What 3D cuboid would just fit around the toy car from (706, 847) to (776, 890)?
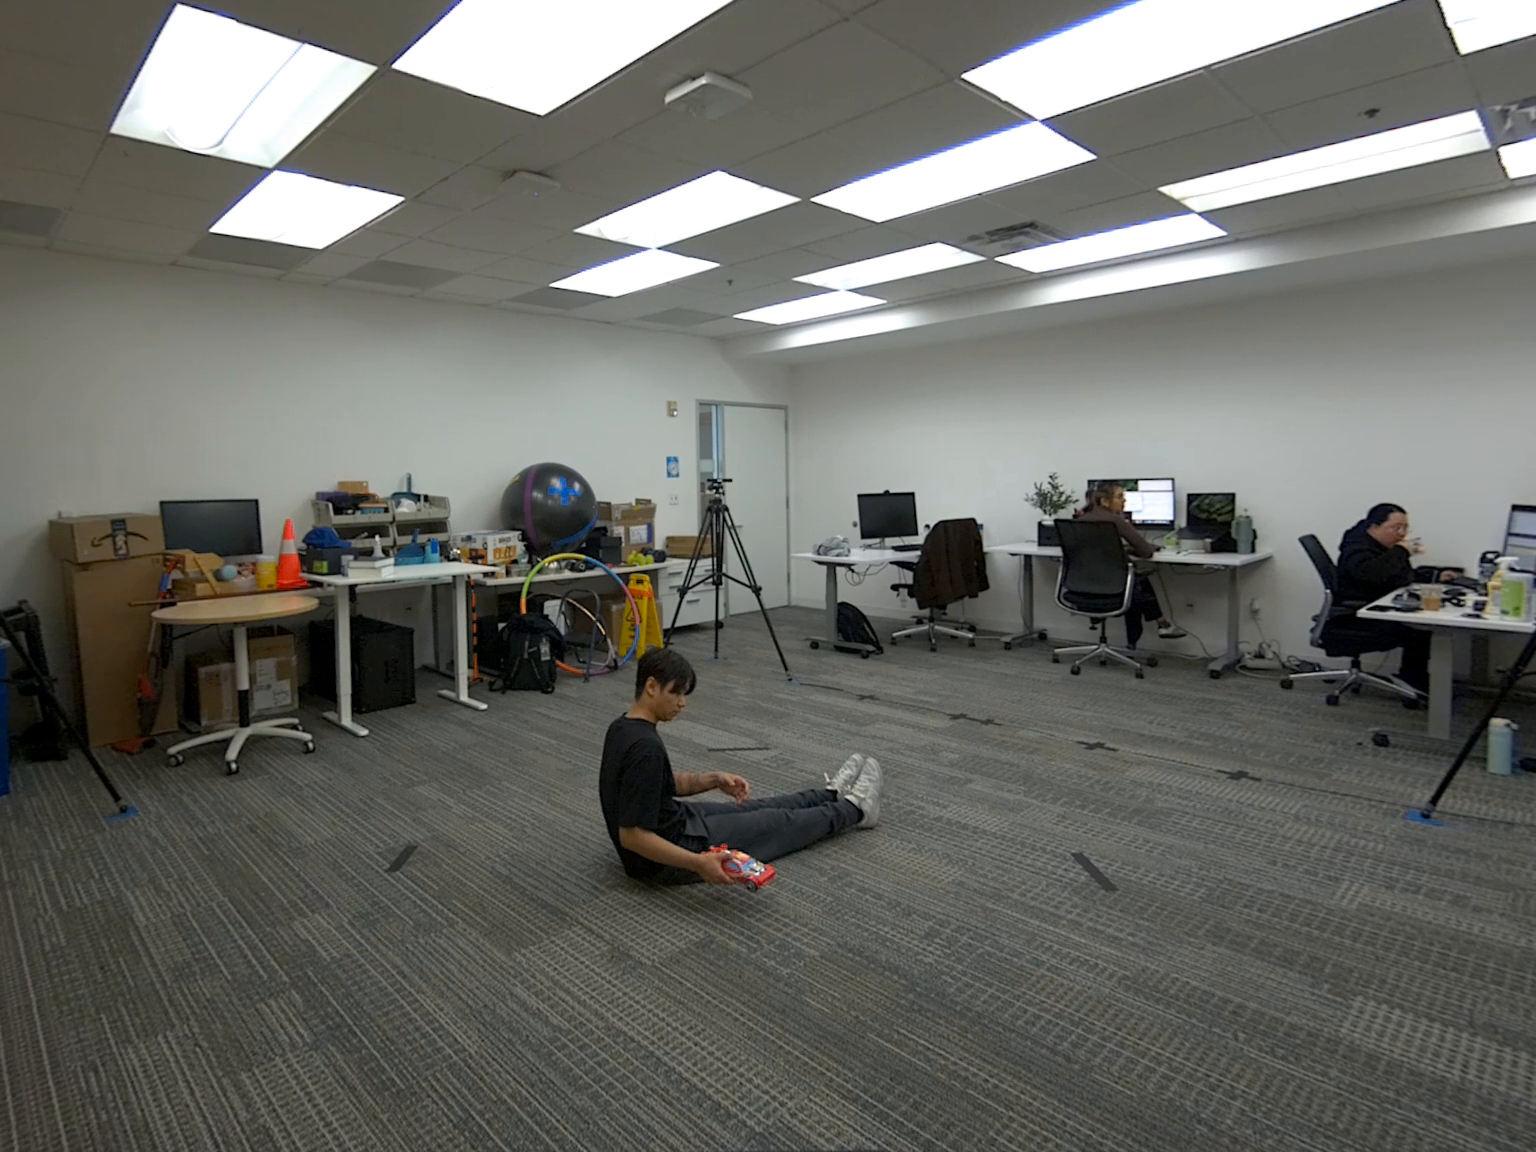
[{"bbox_3d":[-0.100,0.954,2.823,0.263,0.082,0.127,18,18,33],"label":"toy car"}]
